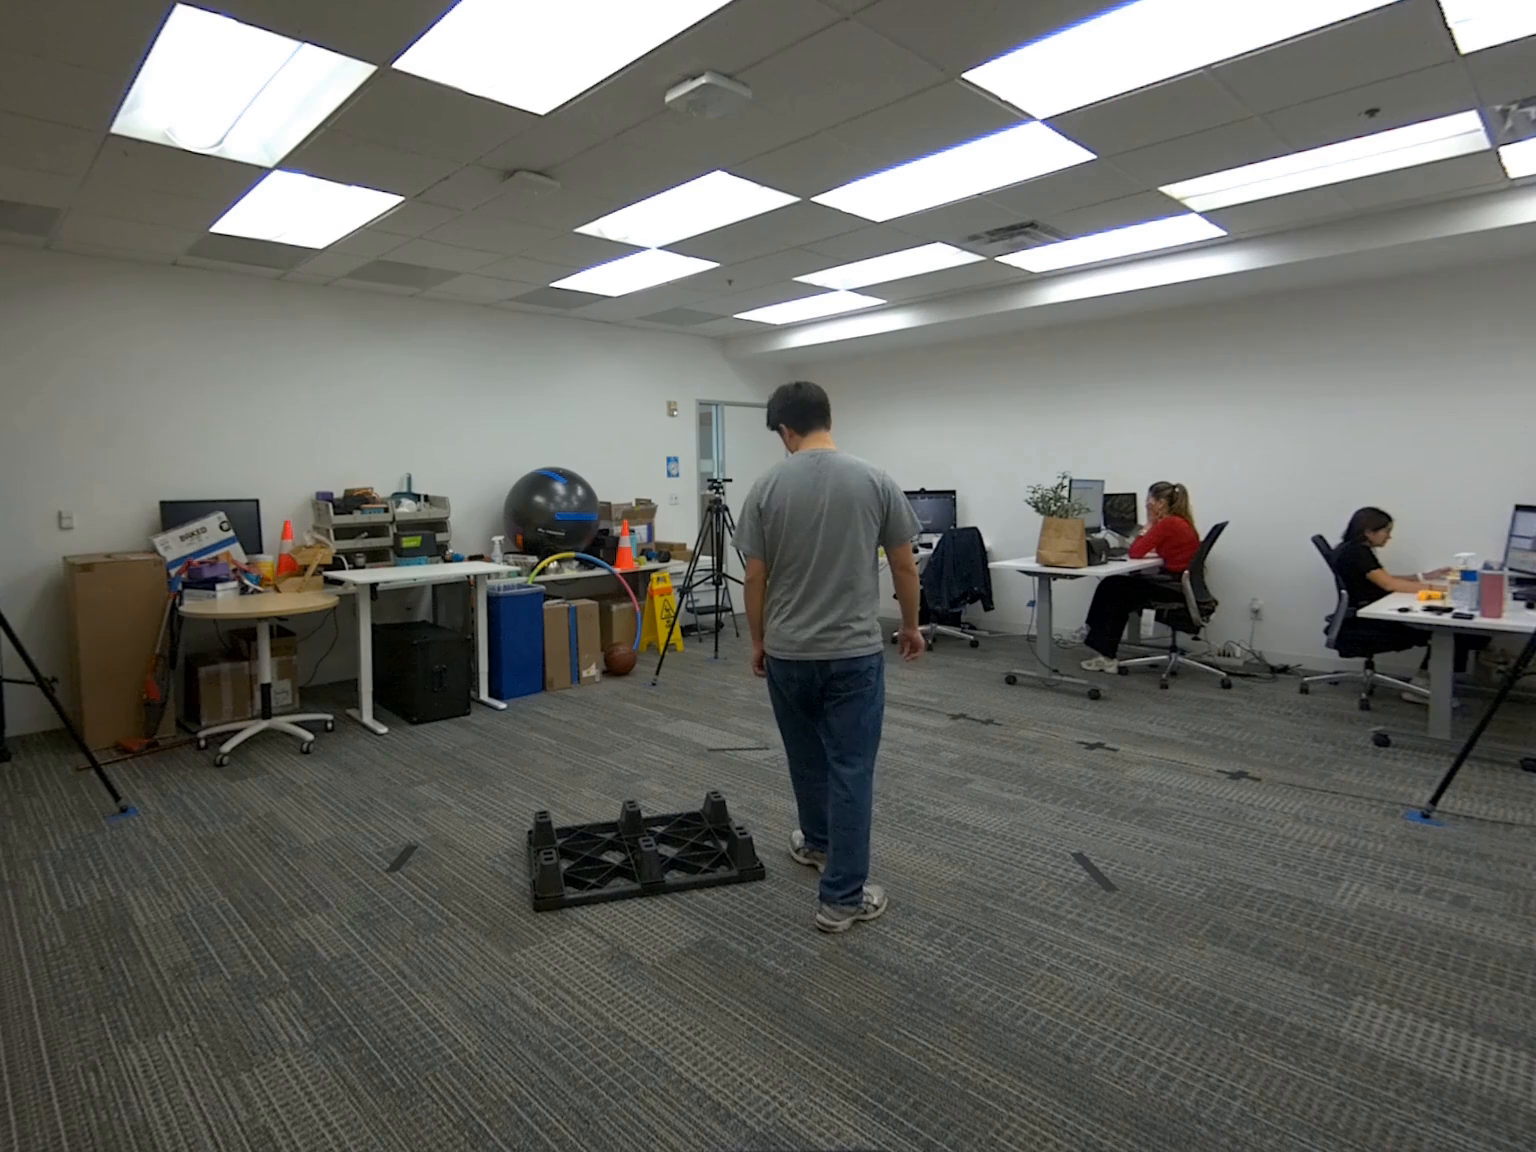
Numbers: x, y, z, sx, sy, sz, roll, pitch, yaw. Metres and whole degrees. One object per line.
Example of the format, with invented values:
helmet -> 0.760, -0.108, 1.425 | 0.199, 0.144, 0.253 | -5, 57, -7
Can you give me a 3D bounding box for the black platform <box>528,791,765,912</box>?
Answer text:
black platform -> -0.472, 0.979, 3.156 | 0.794, 0.142, 0.617 | -3, 7, -17
